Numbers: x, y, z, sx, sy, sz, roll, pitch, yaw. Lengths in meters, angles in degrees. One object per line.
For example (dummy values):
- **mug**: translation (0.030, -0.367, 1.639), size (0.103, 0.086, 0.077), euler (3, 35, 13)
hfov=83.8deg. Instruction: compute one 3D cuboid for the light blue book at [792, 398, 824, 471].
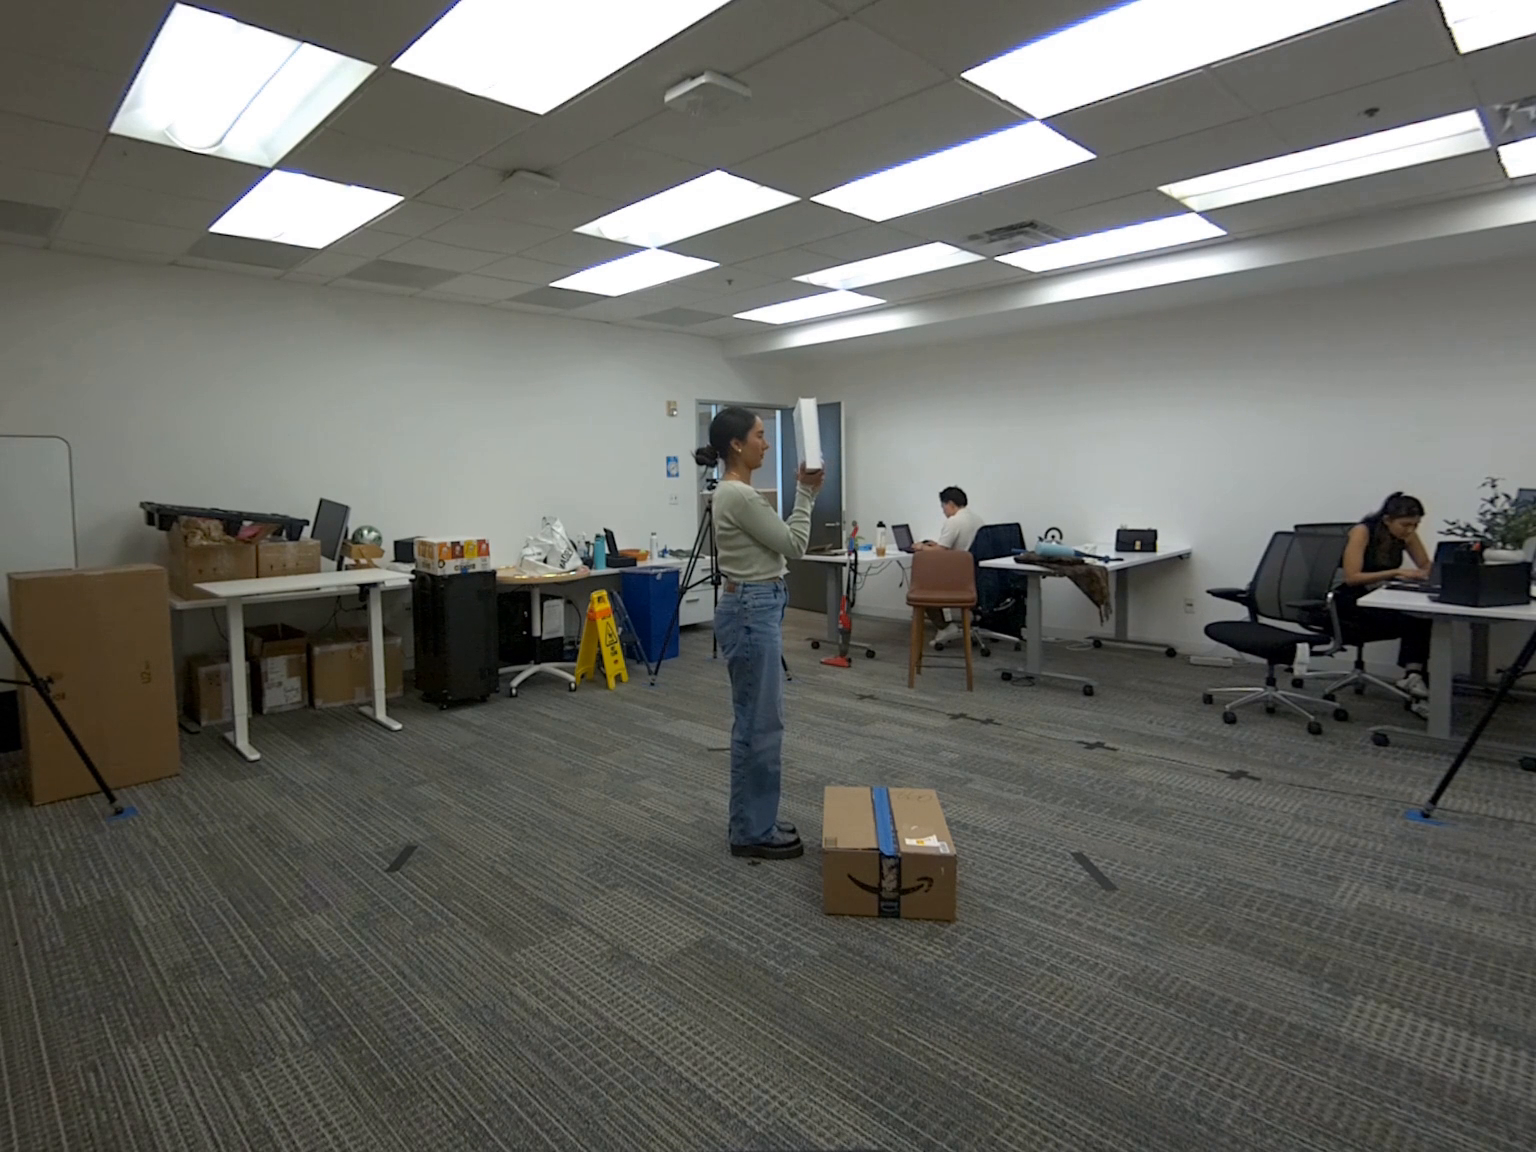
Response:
- **light blue book**: translation (0.145, -0.489, 3.075), size (0.059, 0.263, 0.190), euler (-2, -9, -4)
